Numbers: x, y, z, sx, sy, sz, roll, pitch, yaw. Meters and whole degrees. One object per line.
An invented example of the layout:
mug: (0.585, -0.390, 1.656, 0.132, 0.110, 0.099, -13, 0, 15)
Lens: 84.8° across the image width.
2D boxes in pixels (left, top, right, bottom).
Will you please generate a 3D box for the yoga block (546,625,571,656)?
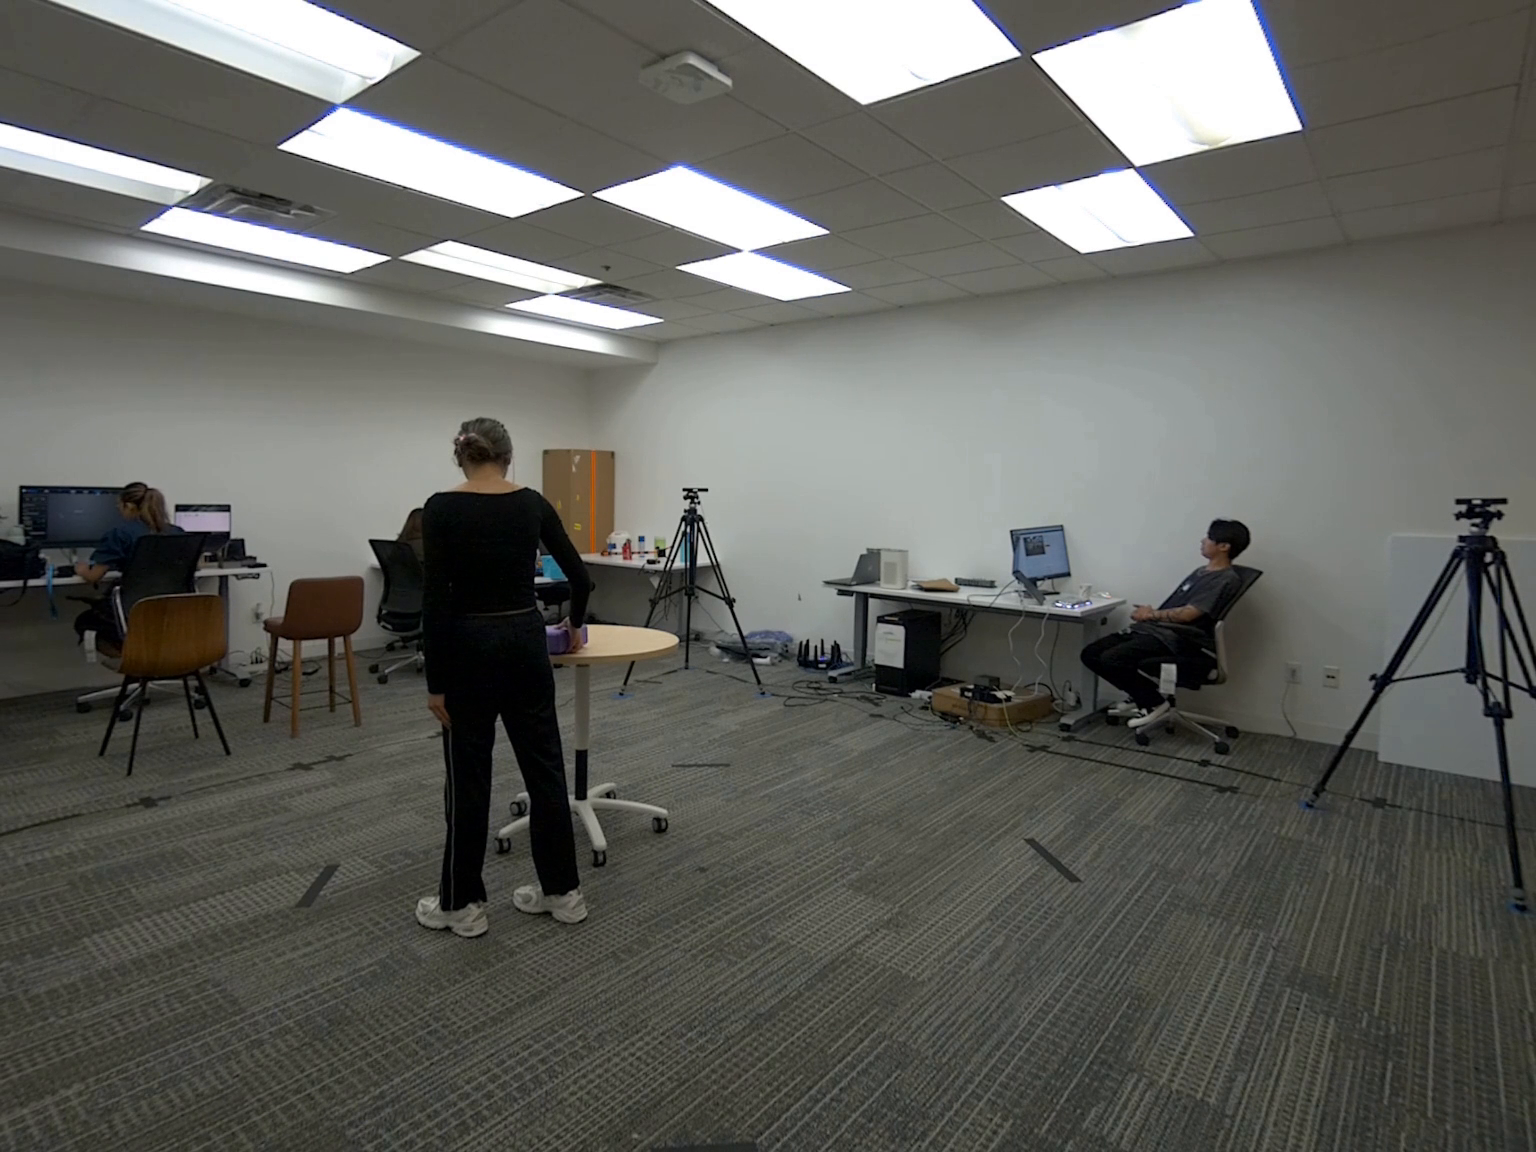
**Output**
yoga block: (-0.792, 0.229, 3.127, 0.151, 0.076, 0.225, -2, 2, 16)
